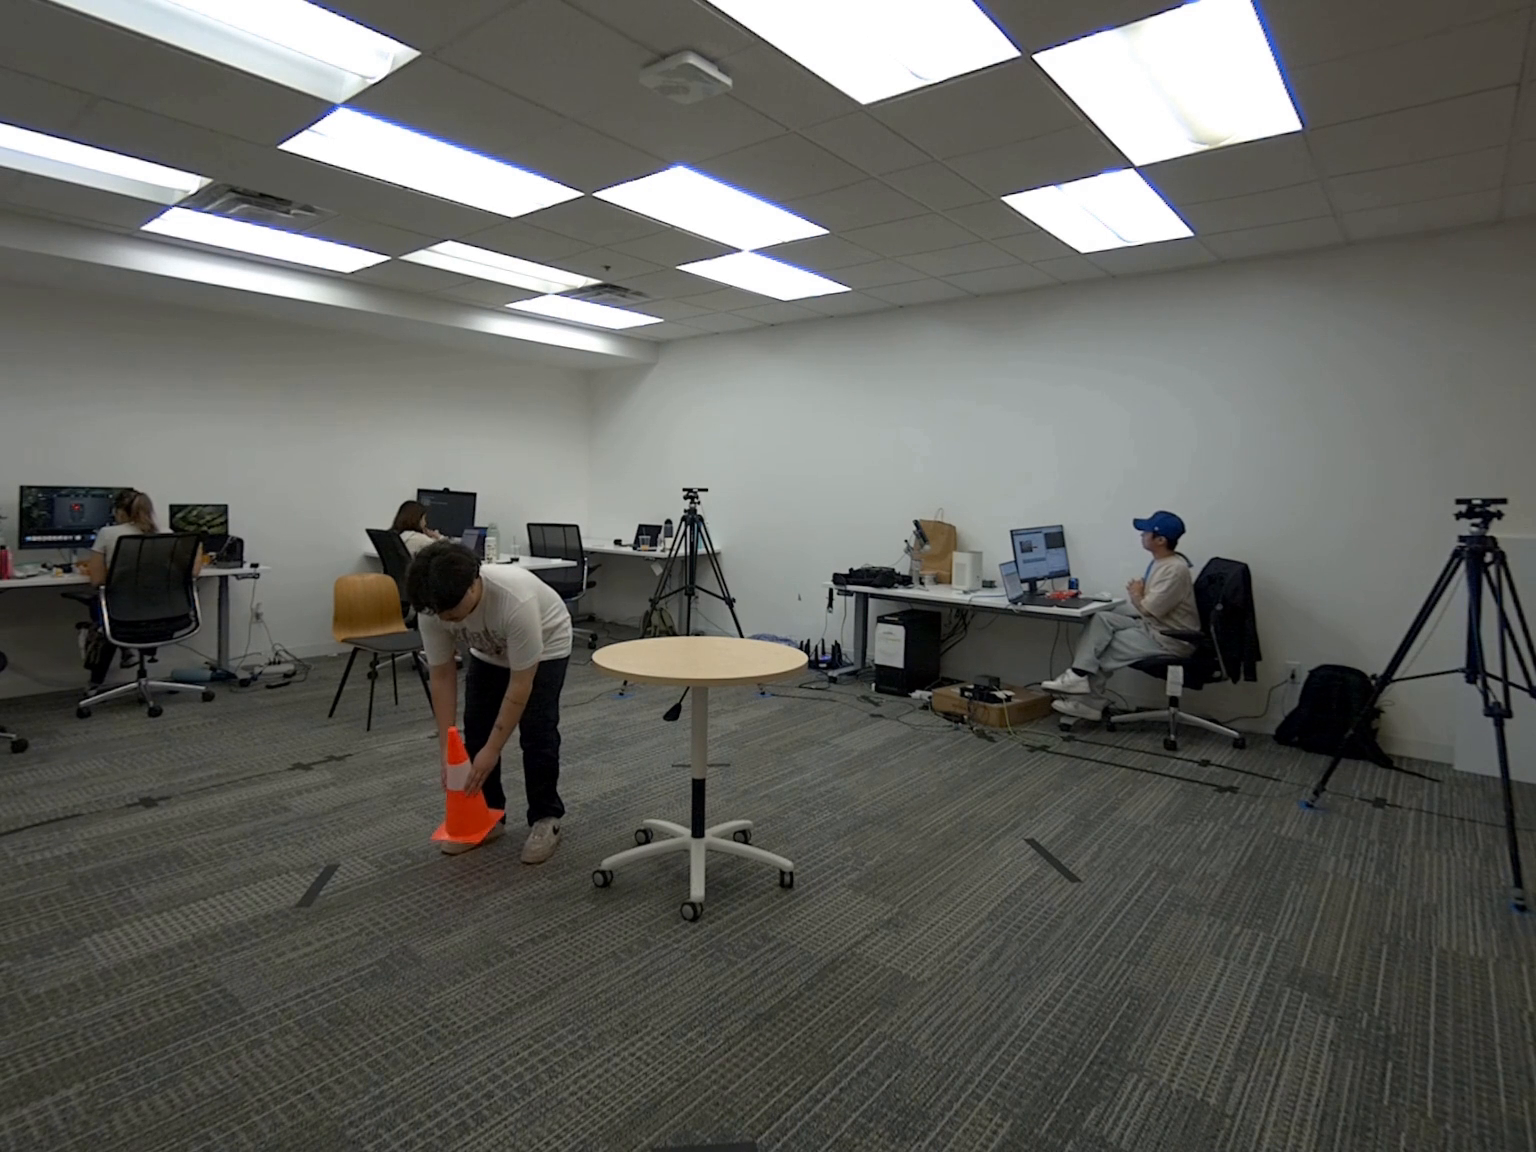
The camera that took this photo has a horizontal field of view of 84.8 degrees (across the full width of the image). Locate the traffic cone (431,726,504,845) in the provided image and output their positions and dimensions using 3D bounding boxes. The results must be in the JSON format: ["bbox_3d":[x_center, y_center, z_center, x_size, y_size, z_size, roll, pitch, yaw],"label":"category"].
[{"bbox_3d":[-1.101,0.715,2.977,0.206,0.377,0.205,-1,17,14],"label":"traffic cone"}]
